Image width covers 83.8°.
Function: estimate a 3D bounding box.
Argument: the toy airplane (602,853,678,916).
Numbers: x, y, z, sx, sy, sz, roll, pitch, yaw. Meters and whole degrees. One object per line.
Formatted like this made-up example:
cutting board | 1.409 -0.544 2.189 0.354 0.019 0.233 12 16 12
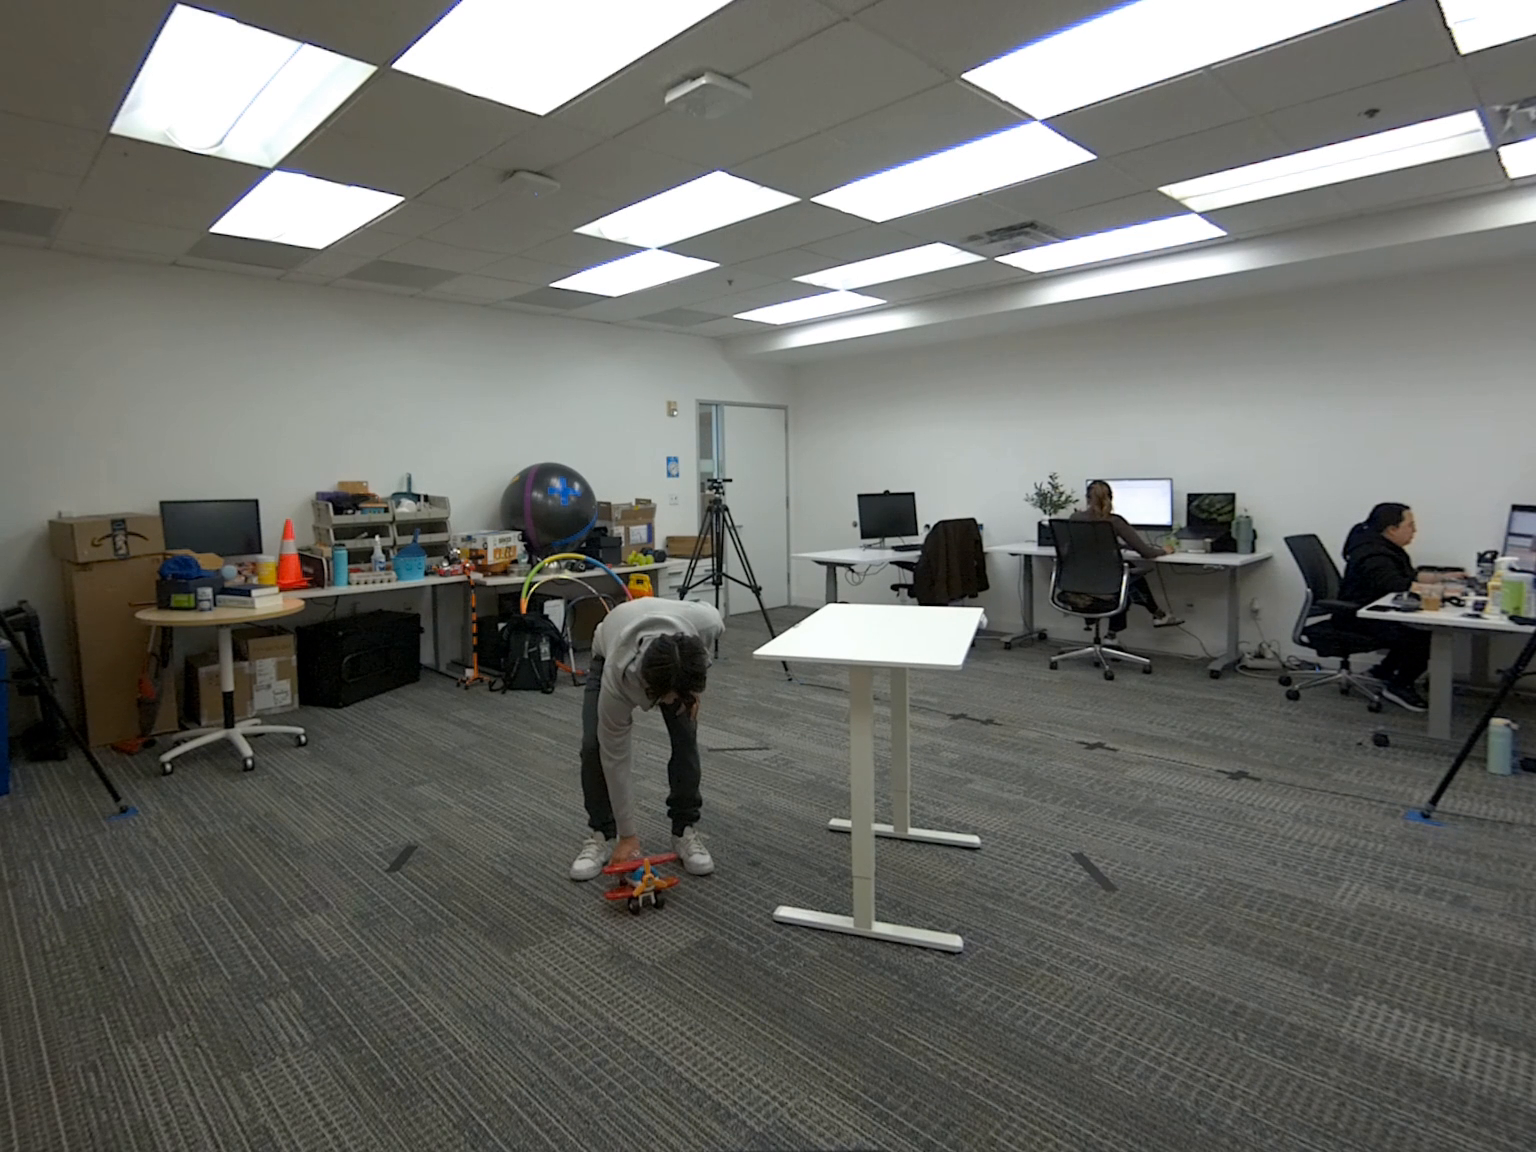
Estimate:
toy airplane | -0.450 1.004 2.845 0.267 0.155 0.245 5 10 37
